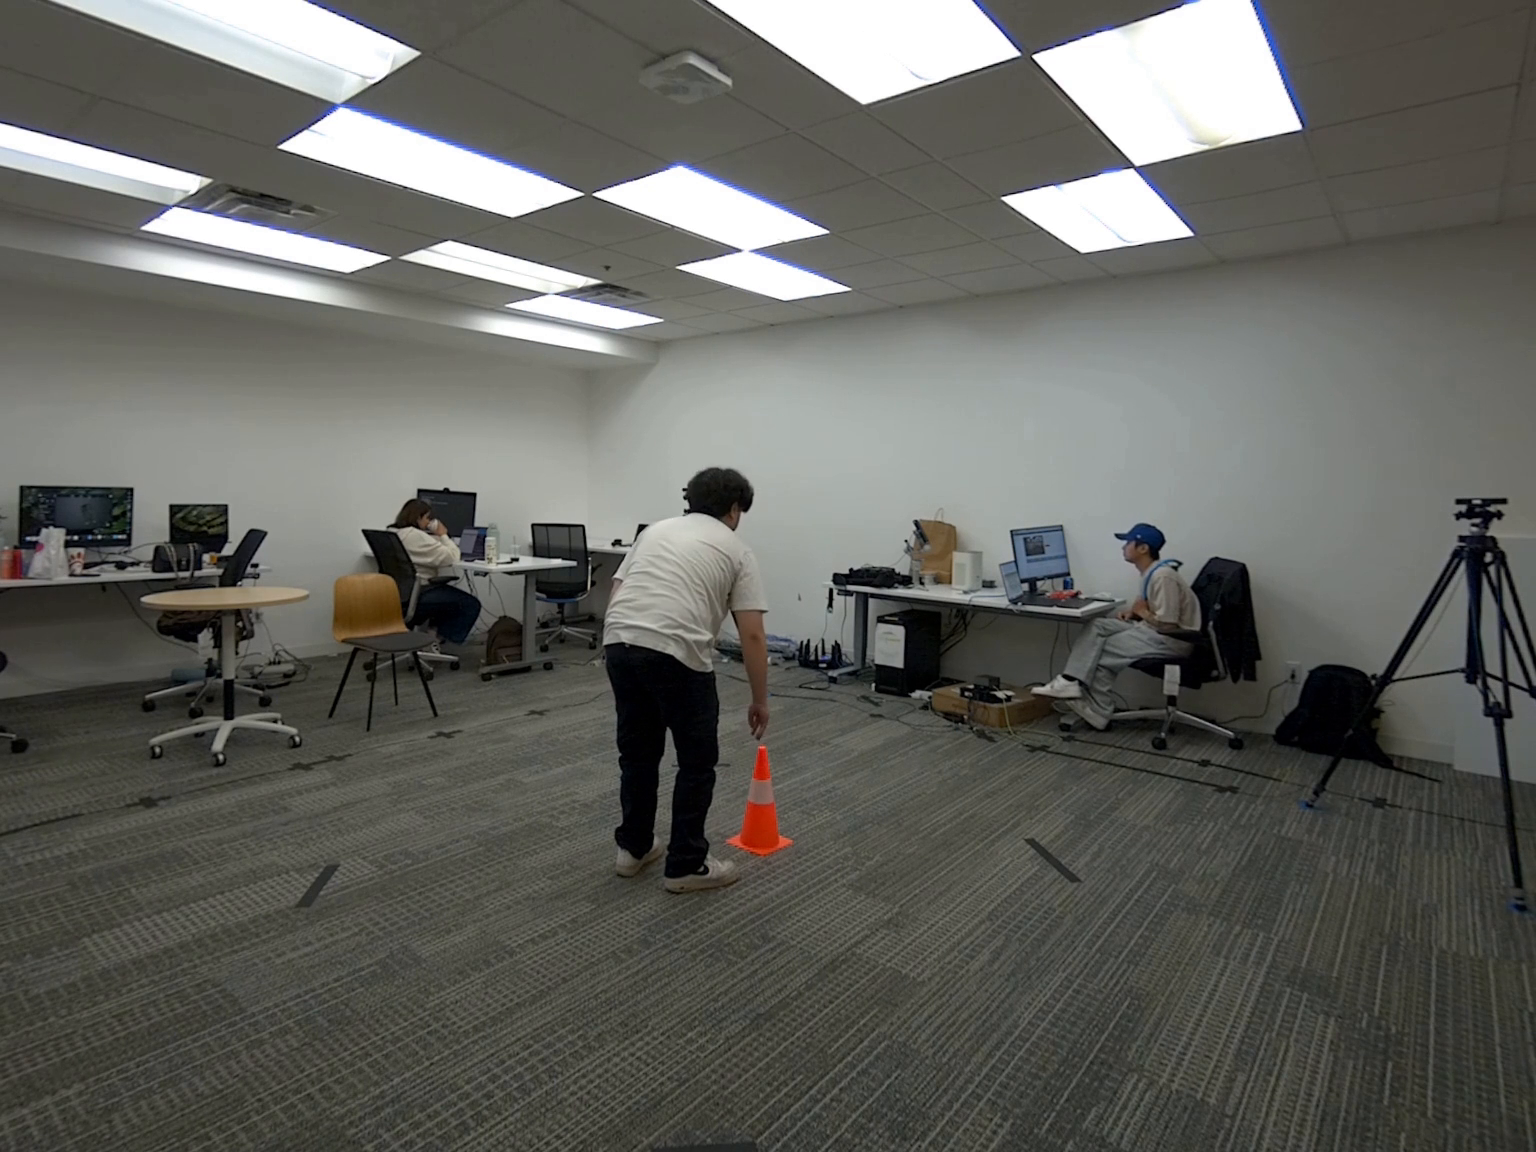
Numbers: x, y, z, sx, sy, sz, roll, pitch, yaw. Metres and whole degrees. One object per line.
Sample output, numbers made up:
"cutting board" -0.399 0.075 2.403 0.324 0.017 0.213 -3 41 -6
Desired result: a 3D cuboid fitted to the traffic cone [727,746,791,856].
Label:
"traffic cone" -0.035 0.859 3.355 0.212 0.382 0.197 6 6 45
